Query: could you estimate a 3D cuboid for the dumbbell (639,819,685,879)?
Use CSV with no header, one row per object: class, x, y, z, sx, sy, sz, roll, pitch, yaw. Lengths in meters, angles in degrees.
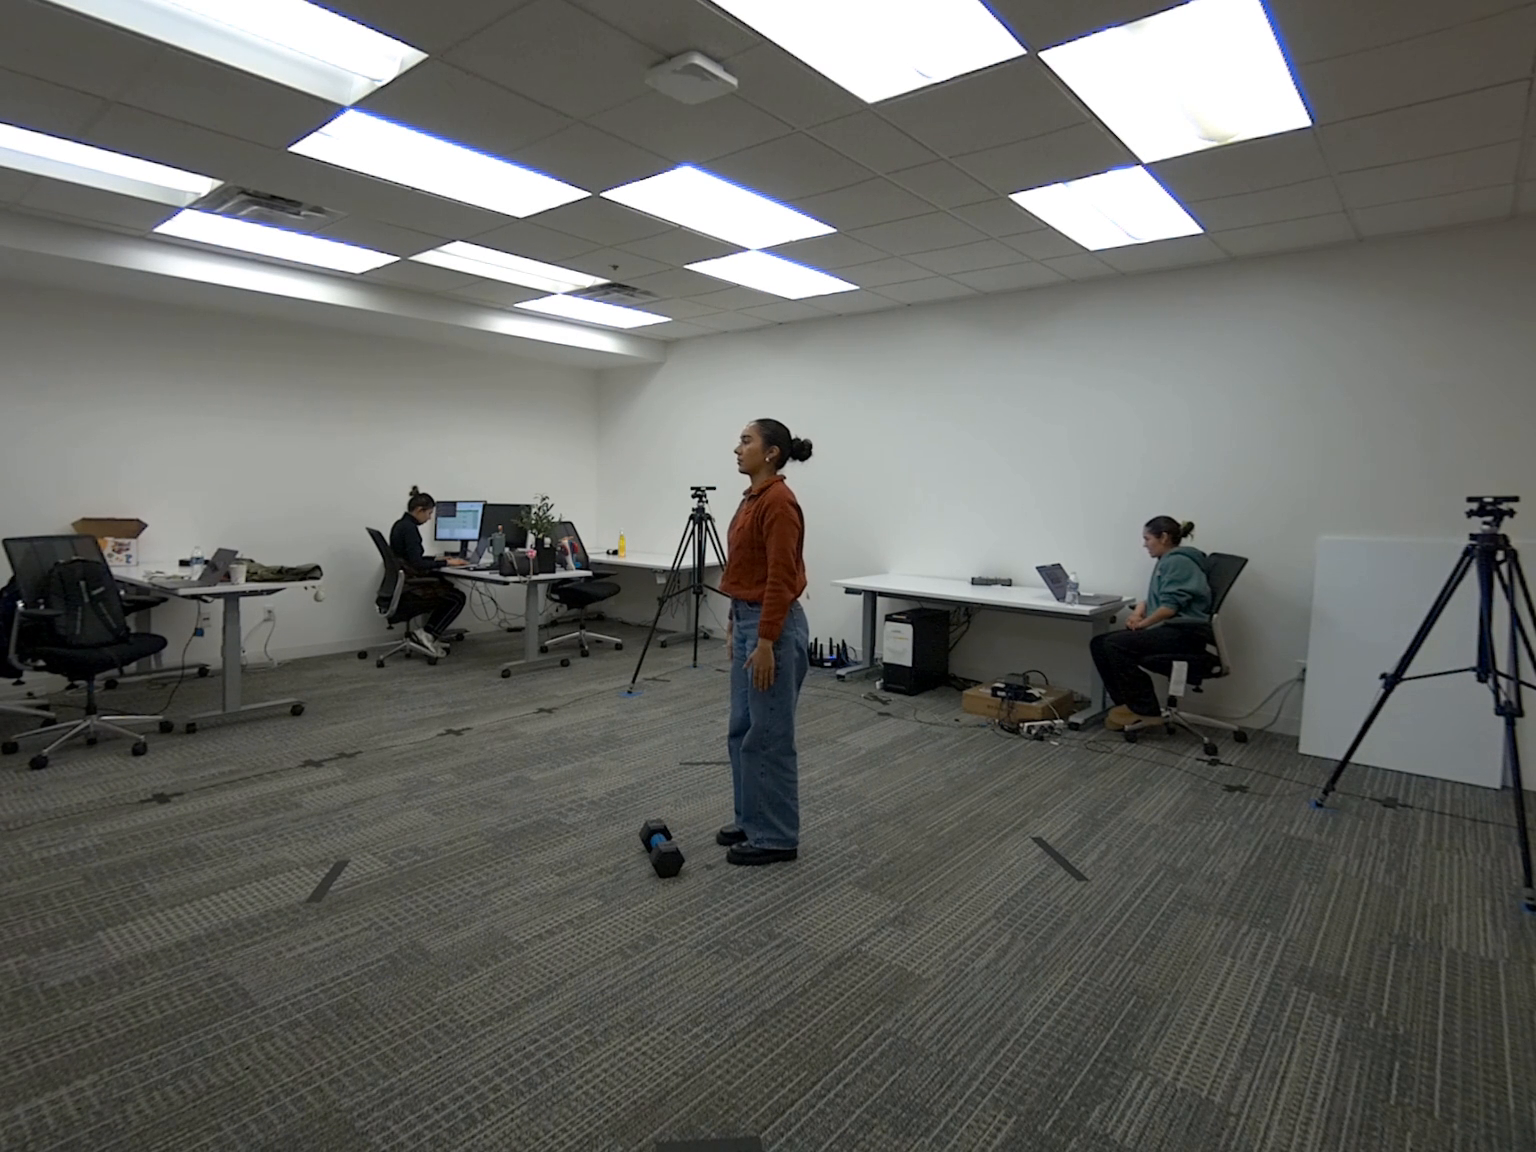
dumbbell,-0.407,1.003,3.154,0.121,0.108,0.300,1,5,-18
